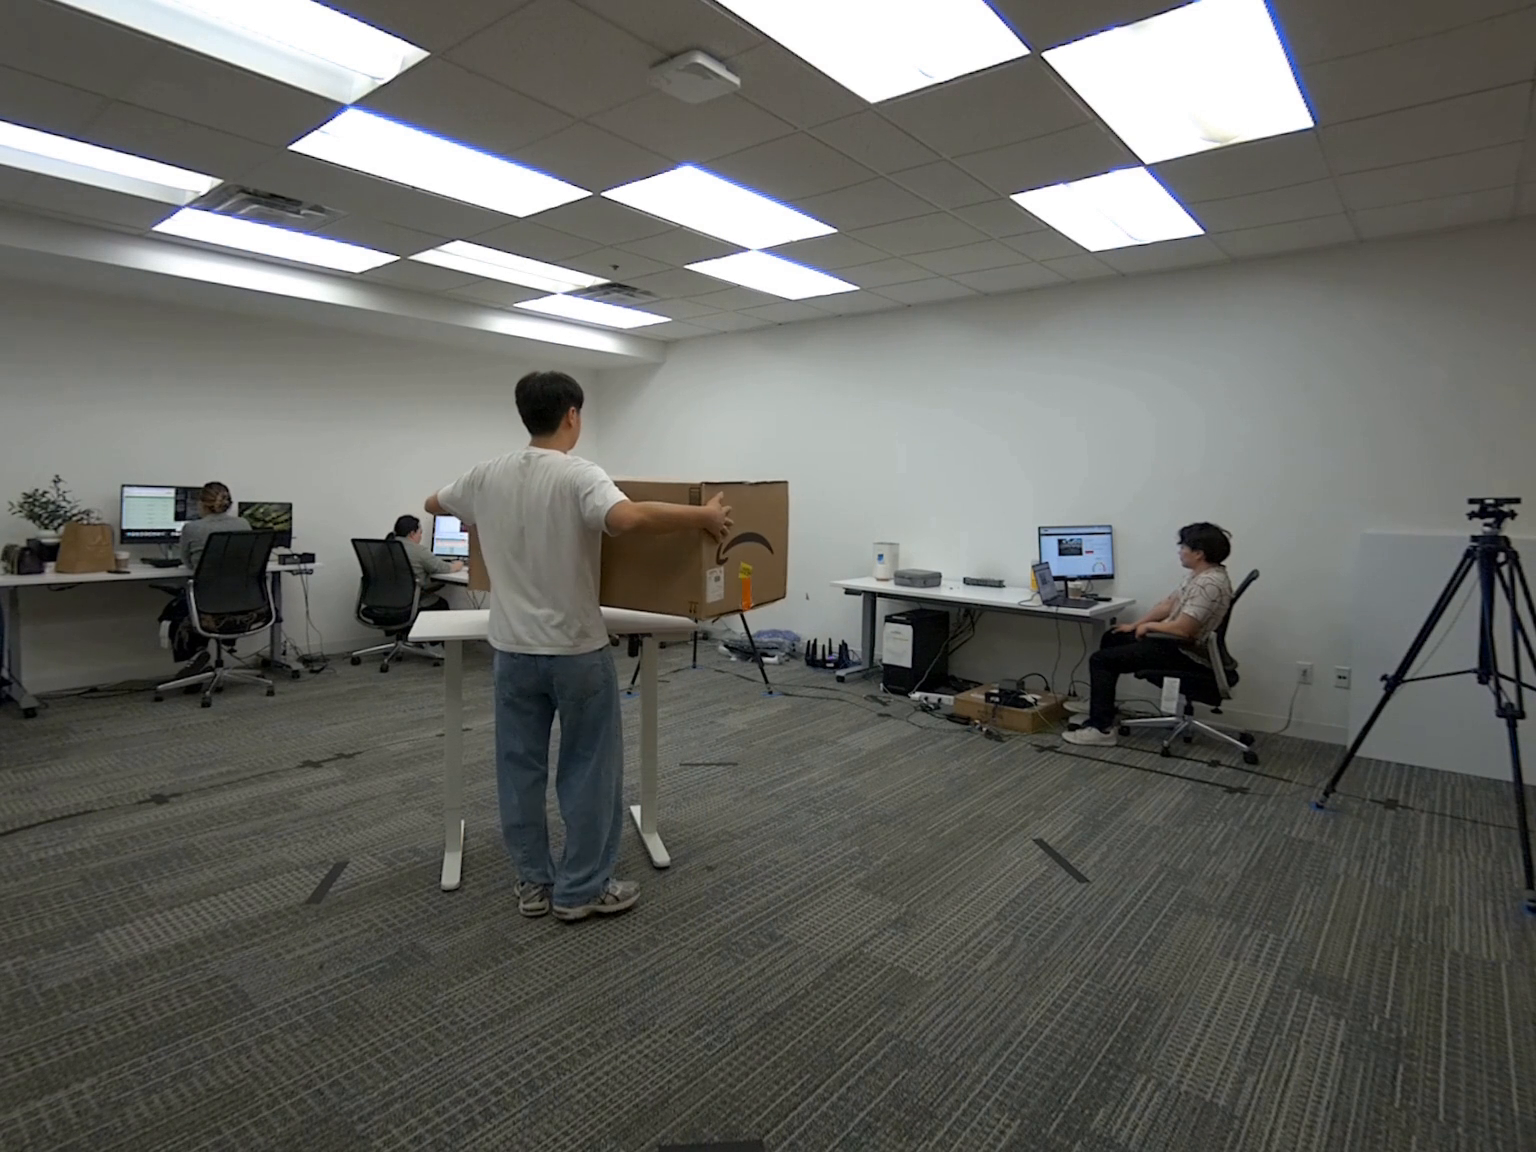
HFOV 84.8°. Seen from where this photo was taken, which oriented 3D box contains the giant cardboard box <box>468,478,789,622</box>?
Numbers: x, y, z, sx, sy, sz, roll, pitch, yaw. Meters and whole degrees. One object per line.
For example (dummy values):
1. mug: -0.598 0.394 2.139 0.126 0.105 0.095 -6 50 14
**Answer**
1. giant cardboard box: -0.519 -0.136 3.088 1.057 0.424 0.564 5 8 30
